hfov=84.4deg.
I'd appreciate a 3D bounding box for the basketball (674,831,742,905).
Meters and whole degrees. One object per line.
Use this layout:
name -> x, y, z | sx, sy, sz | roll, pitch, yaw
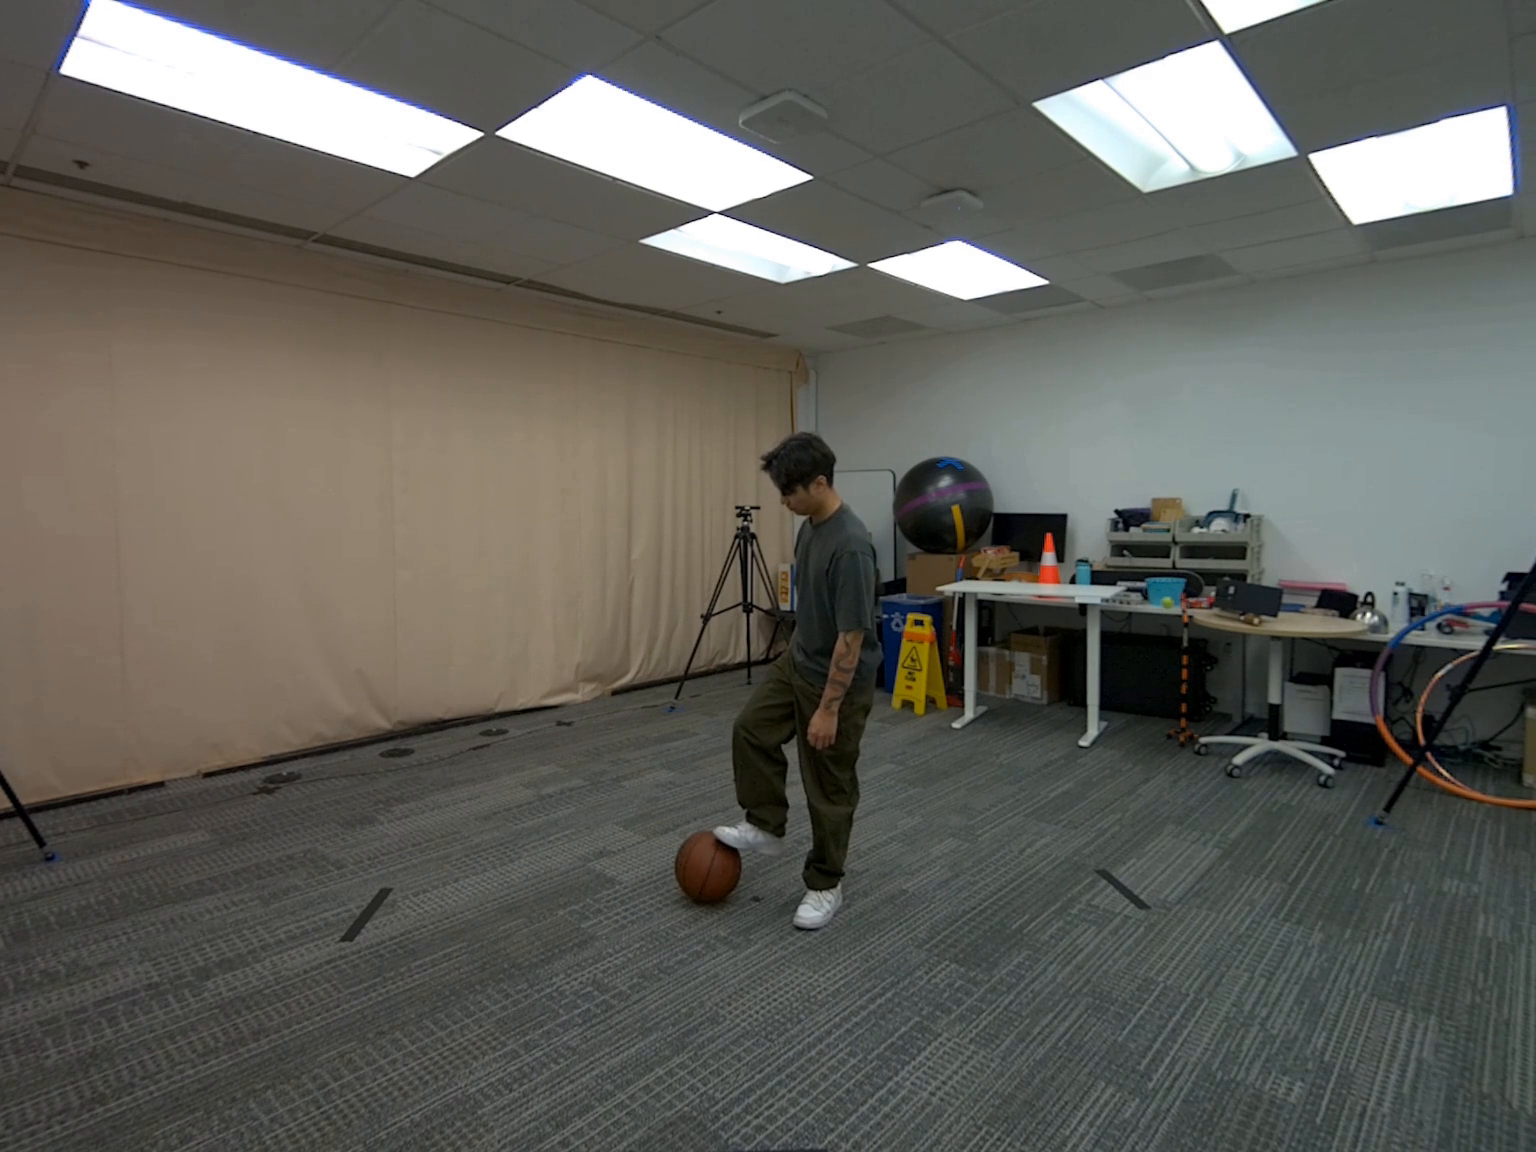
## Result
basketball -> -0.209, 1.026, 2.980 | 0.236, 0.235, 0.237 | 0, 4, -2
